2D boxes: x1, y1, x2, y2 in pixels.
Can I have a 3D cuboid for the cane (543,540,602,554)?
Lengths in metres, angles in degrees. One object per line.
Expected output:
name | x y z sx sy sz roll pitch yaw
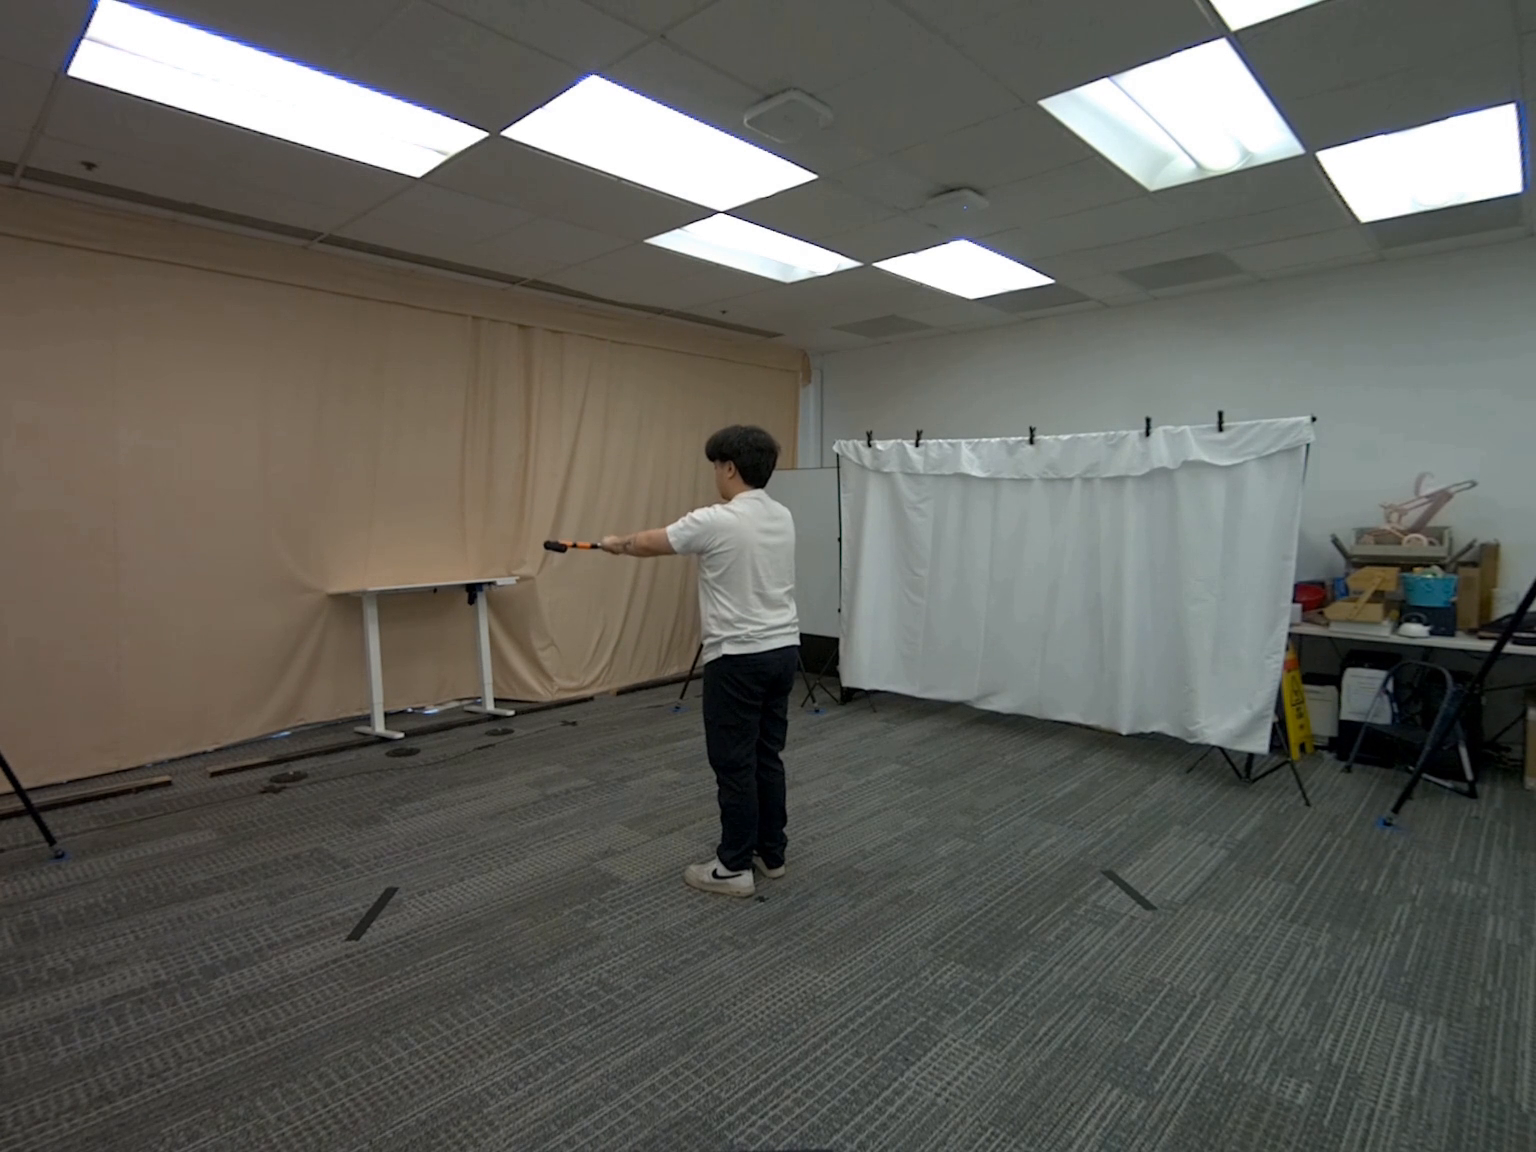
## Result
cane | -0.526 -0.143 3.441 0.214 0.151 0.879 10 8 43
